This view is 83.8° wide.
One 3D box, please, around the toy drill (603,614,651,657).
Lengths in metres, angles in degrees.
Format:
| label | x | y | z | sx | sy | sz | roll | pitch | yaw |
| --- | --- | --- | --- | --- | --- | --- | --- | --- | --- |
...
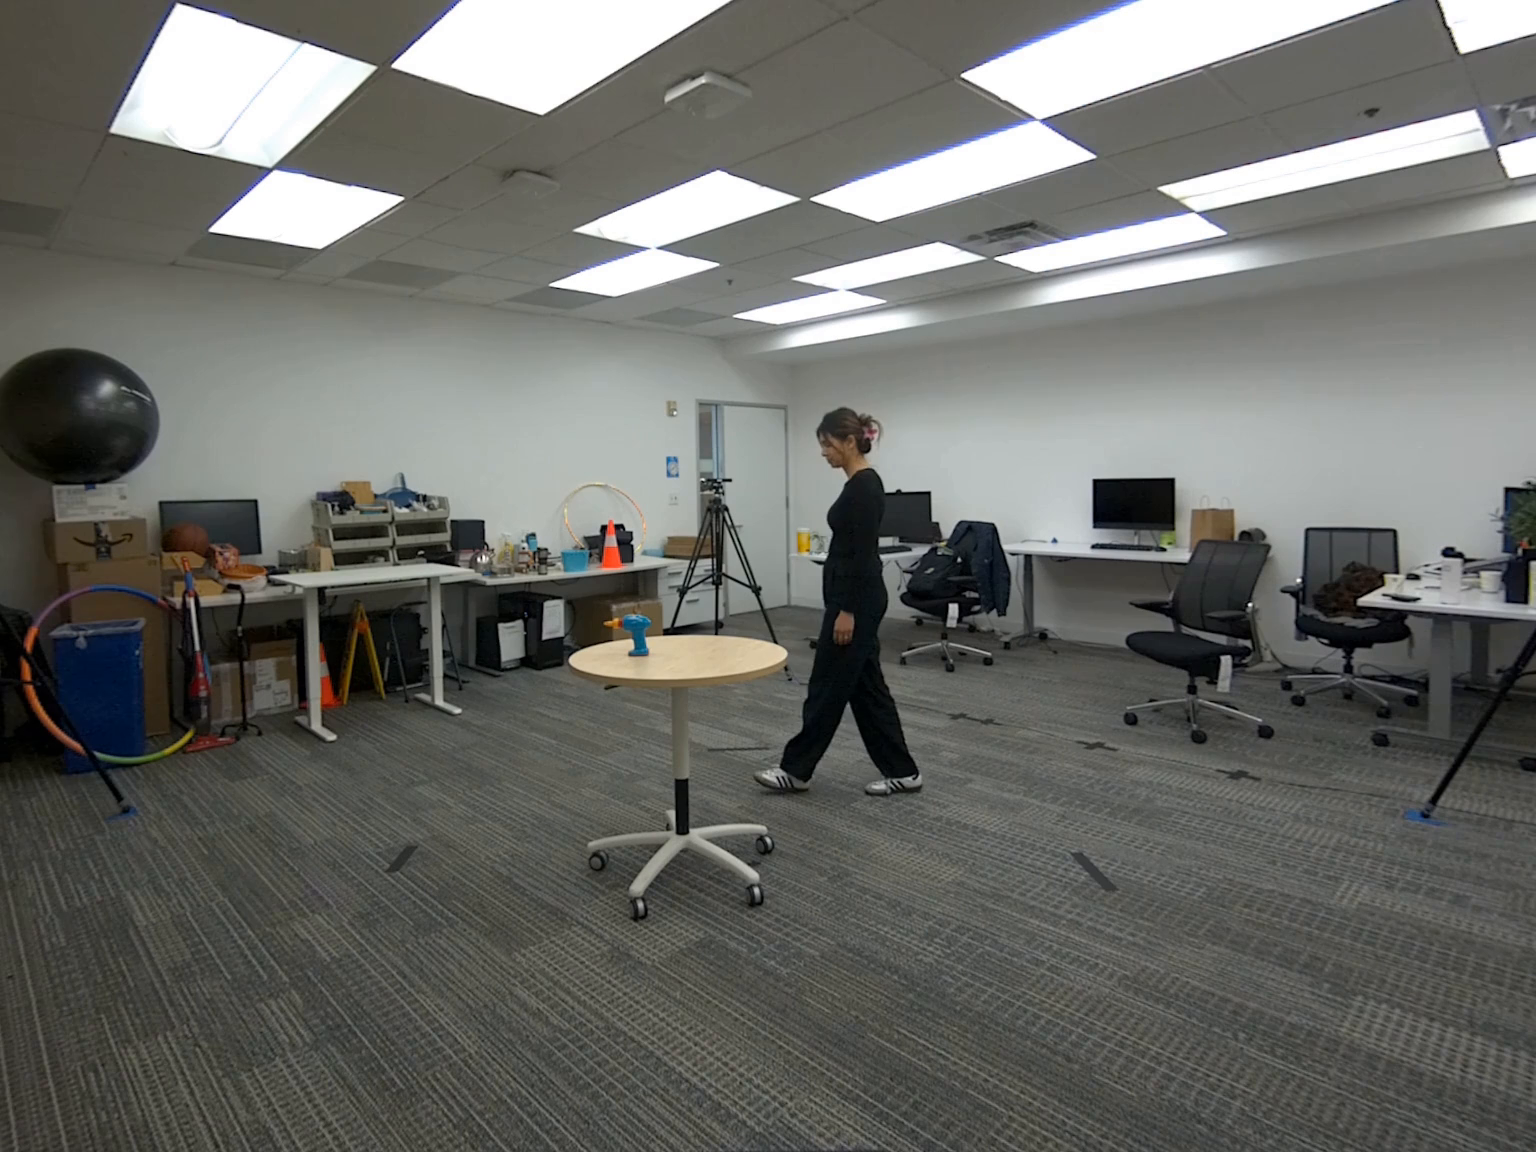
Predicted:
| label | x | y | z | sx | sy | sz | roll | pitch | yaw |
| --- | --- | --- | --- | --- | --- | --- | --- | --- | --- |
| toy drill | -0.496 | 0.206 | 3.013 | 0.170 | 0.146 | 0.061 | 1 | 1 | 1 |
